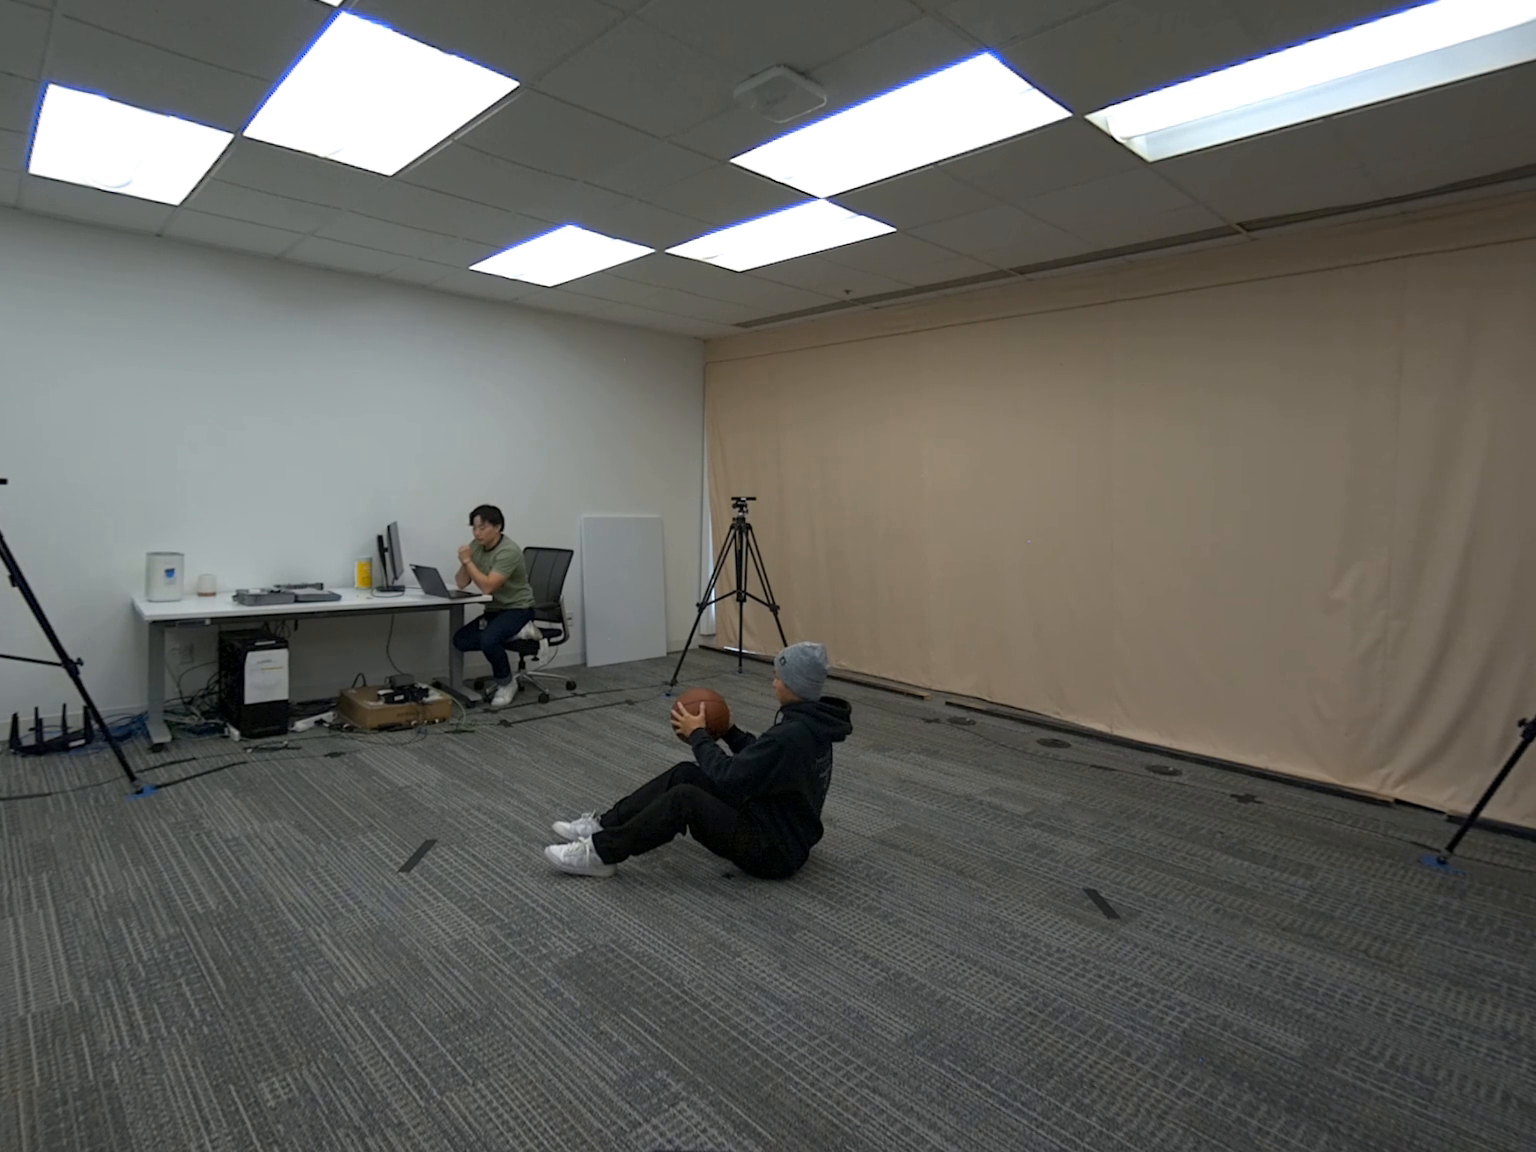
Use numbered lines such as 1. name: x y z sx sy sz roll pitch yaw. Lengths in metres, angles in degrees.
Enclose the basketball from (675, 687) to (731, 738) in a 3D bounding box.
1. basketball: -0.279 0.574 3.424 0.236 0.235 0.237 1 4 -1
